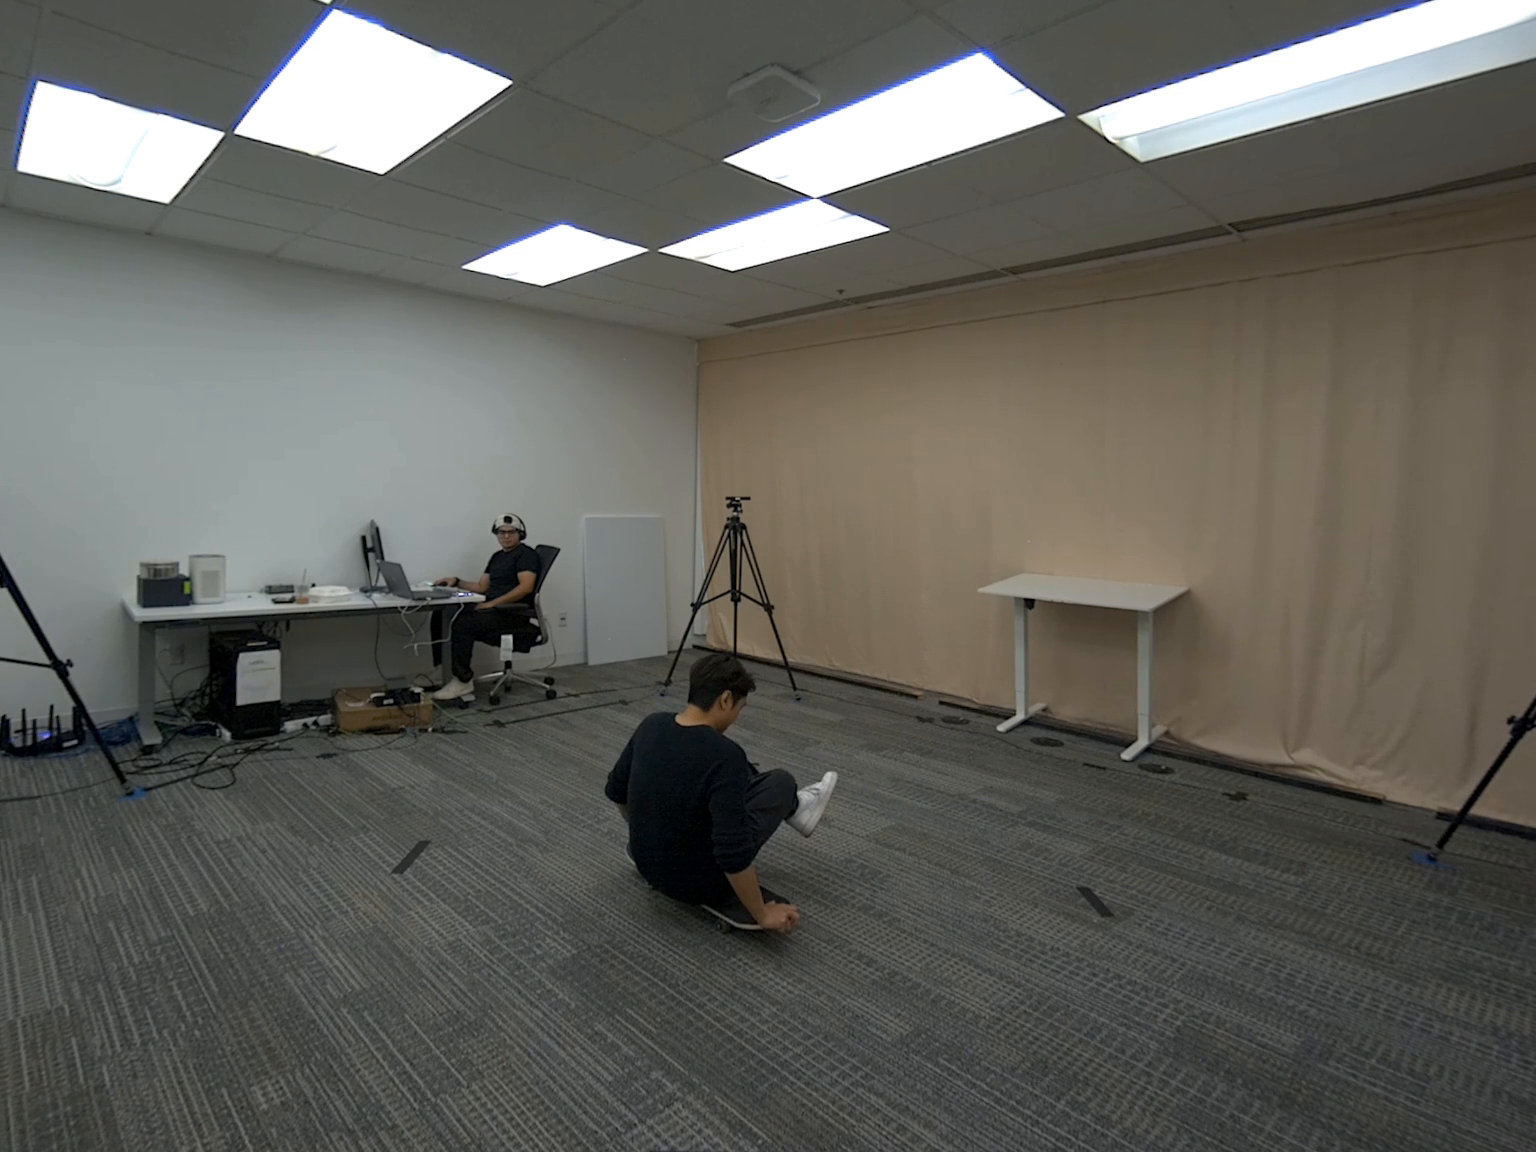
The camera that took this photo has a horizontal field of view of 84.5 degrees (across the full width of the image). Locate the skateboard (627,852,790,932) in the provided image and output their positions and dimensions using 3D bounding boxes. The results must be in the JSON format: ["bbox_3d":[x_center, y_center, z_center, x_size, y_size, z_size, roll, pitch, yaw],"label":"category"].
[{"bbox_3d":[-0.230,1.084,2.886,0.190,0.109,0.806,-12,13,-40],"label":"skateboard"}]
